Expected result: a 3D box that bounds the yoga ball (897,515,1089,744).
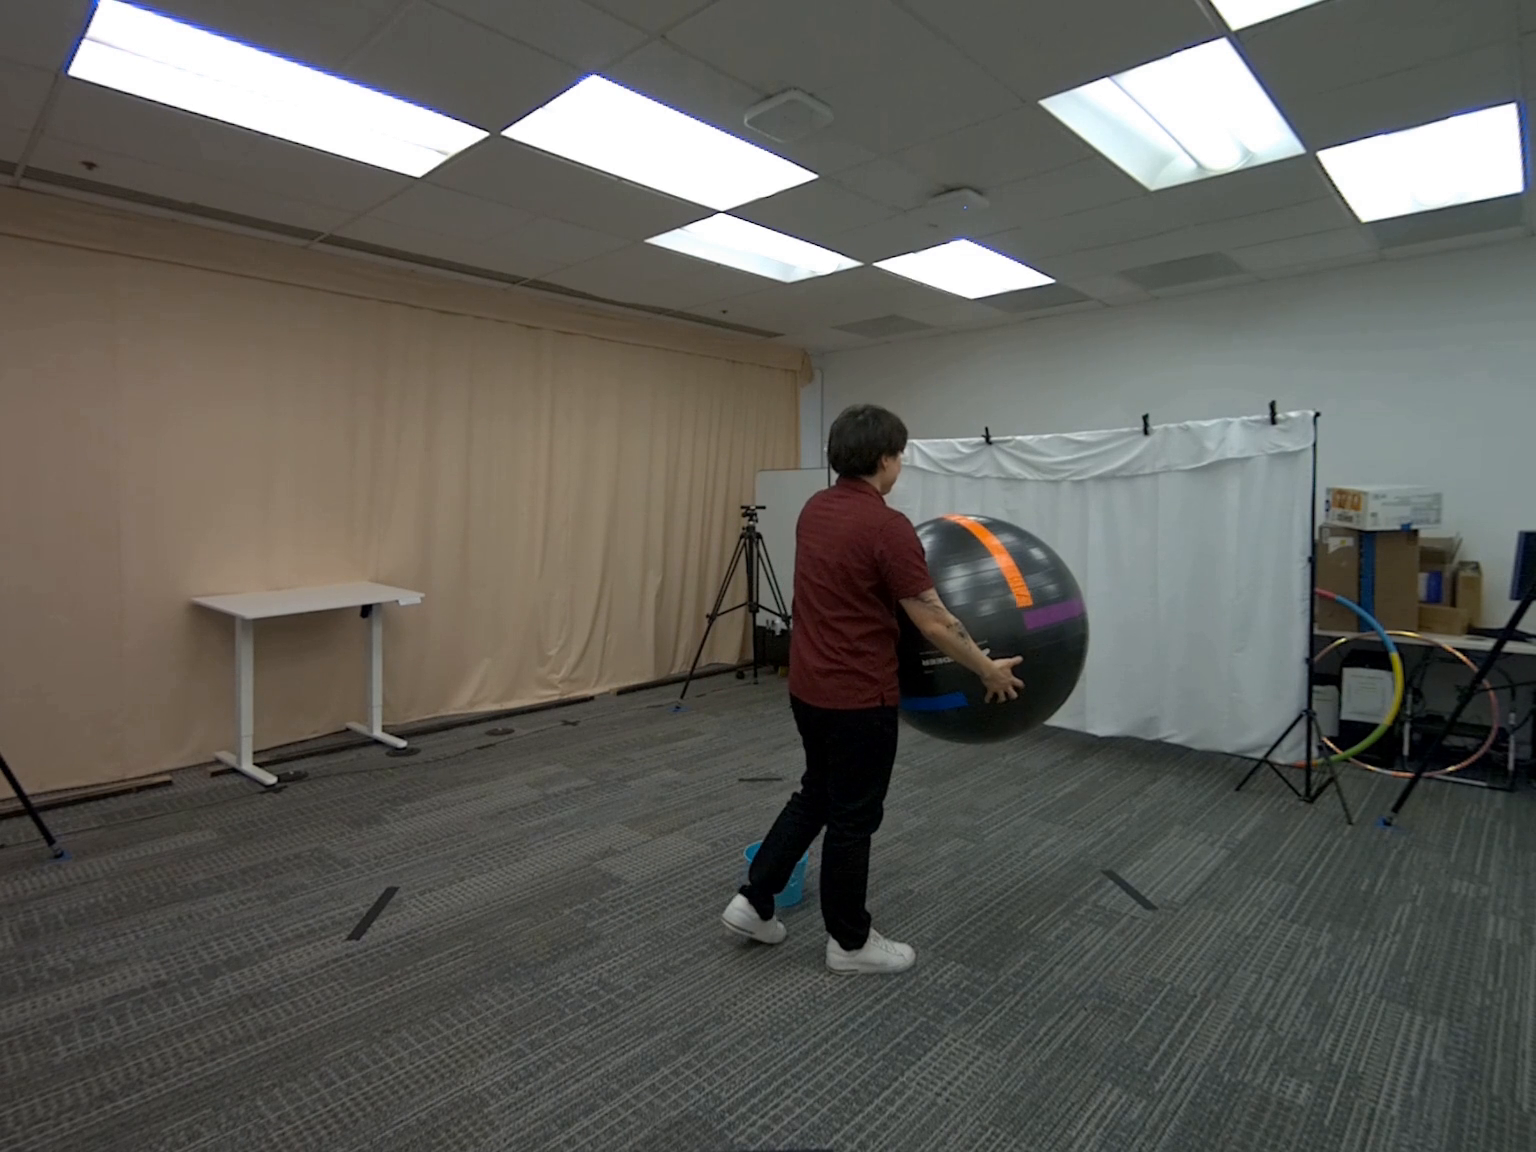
[{"bbox_3d":[0.663,0.182,2.830,0.757,0.756,0.761,0,4,-2],"label":"yoga ball"}]
